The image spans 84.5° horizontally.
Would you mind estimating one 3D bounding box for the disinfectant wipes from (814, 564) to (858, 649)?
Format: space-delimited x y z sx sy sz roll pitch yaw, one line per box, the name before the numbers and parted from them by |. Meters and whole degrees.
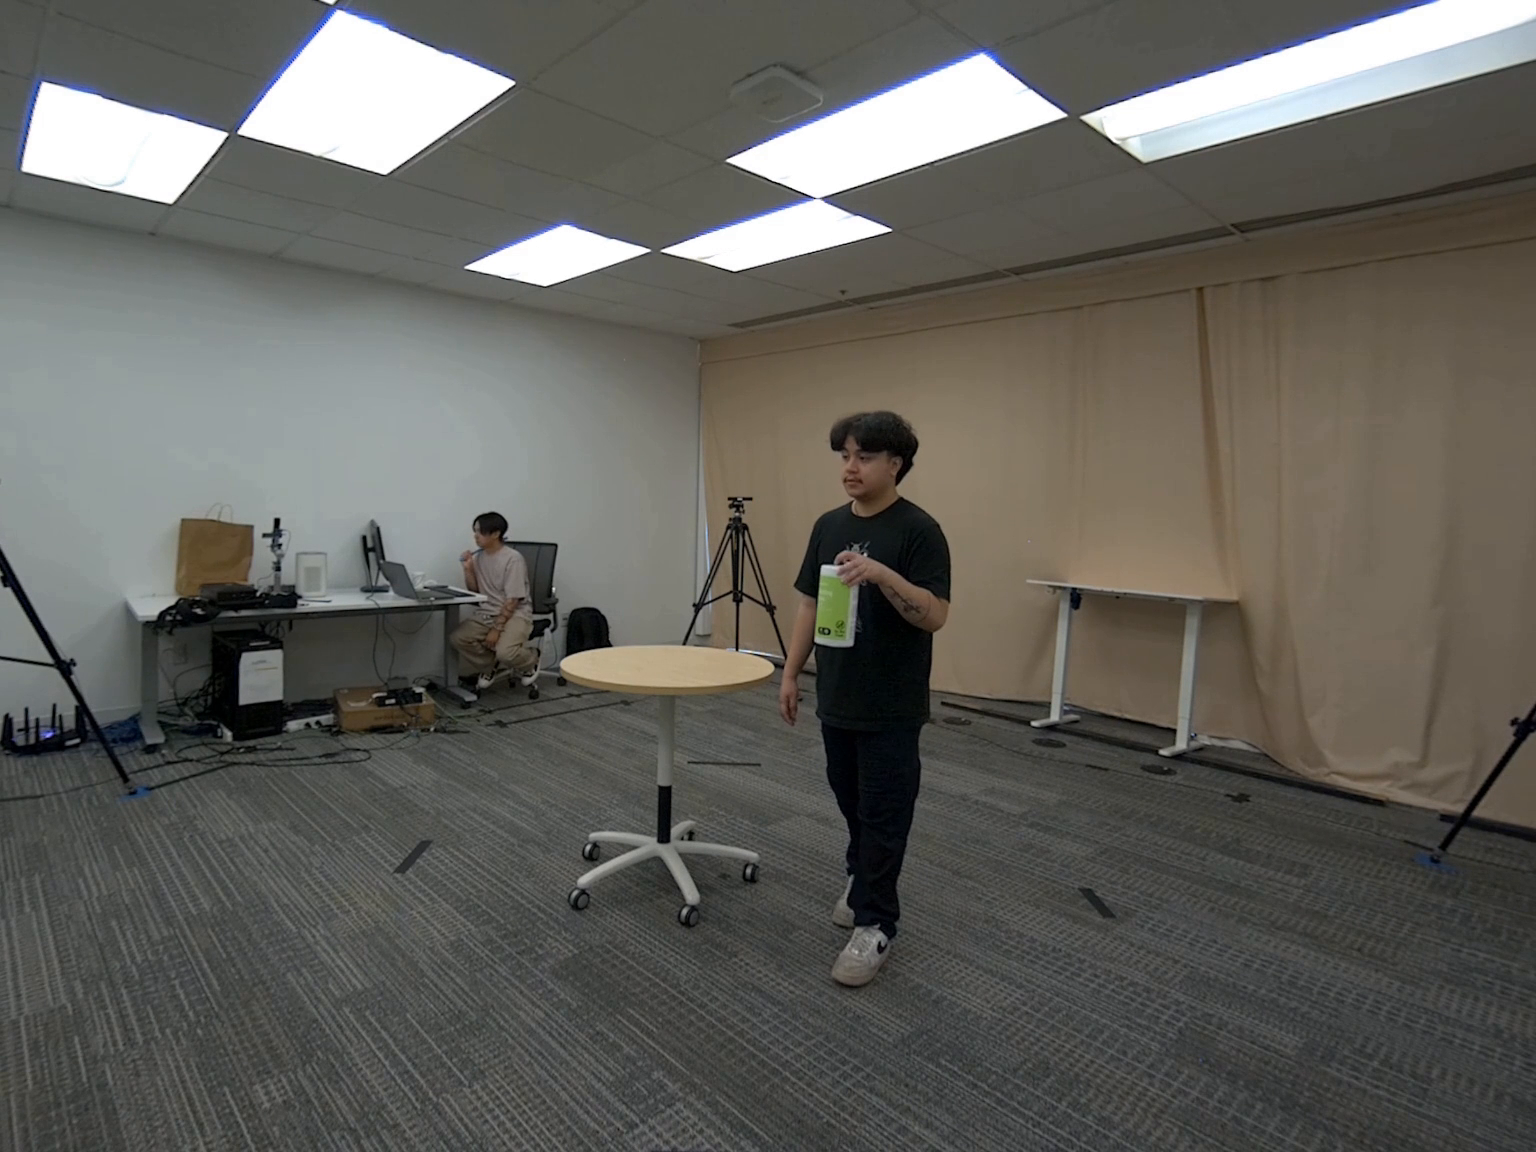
disinfectant wipes | 0.179 0.083 2.296 0.118 0.217 0.118 4 2 -2
